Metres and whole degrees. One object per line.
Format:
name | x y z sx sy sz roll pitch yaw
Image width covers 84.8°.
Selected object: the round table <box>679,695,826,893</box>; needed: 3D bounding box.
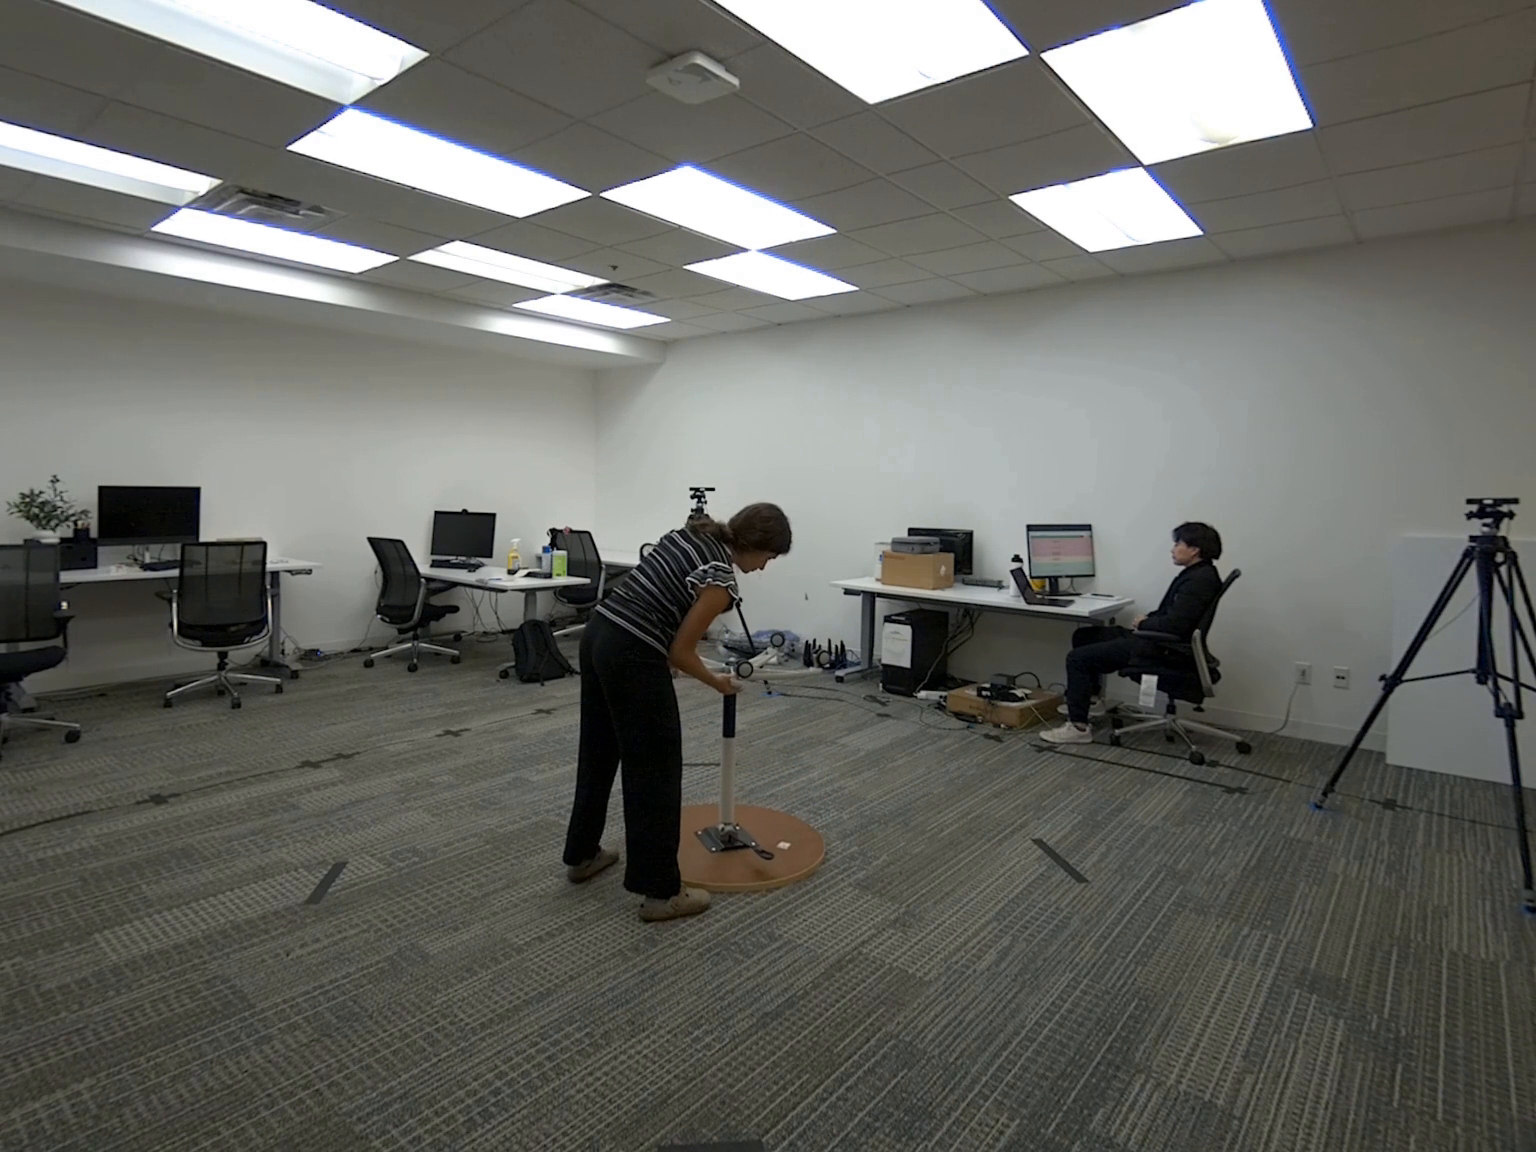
round table | -0.154 0.656 3.293 0.763 0.792 0.767 1 4 -2
